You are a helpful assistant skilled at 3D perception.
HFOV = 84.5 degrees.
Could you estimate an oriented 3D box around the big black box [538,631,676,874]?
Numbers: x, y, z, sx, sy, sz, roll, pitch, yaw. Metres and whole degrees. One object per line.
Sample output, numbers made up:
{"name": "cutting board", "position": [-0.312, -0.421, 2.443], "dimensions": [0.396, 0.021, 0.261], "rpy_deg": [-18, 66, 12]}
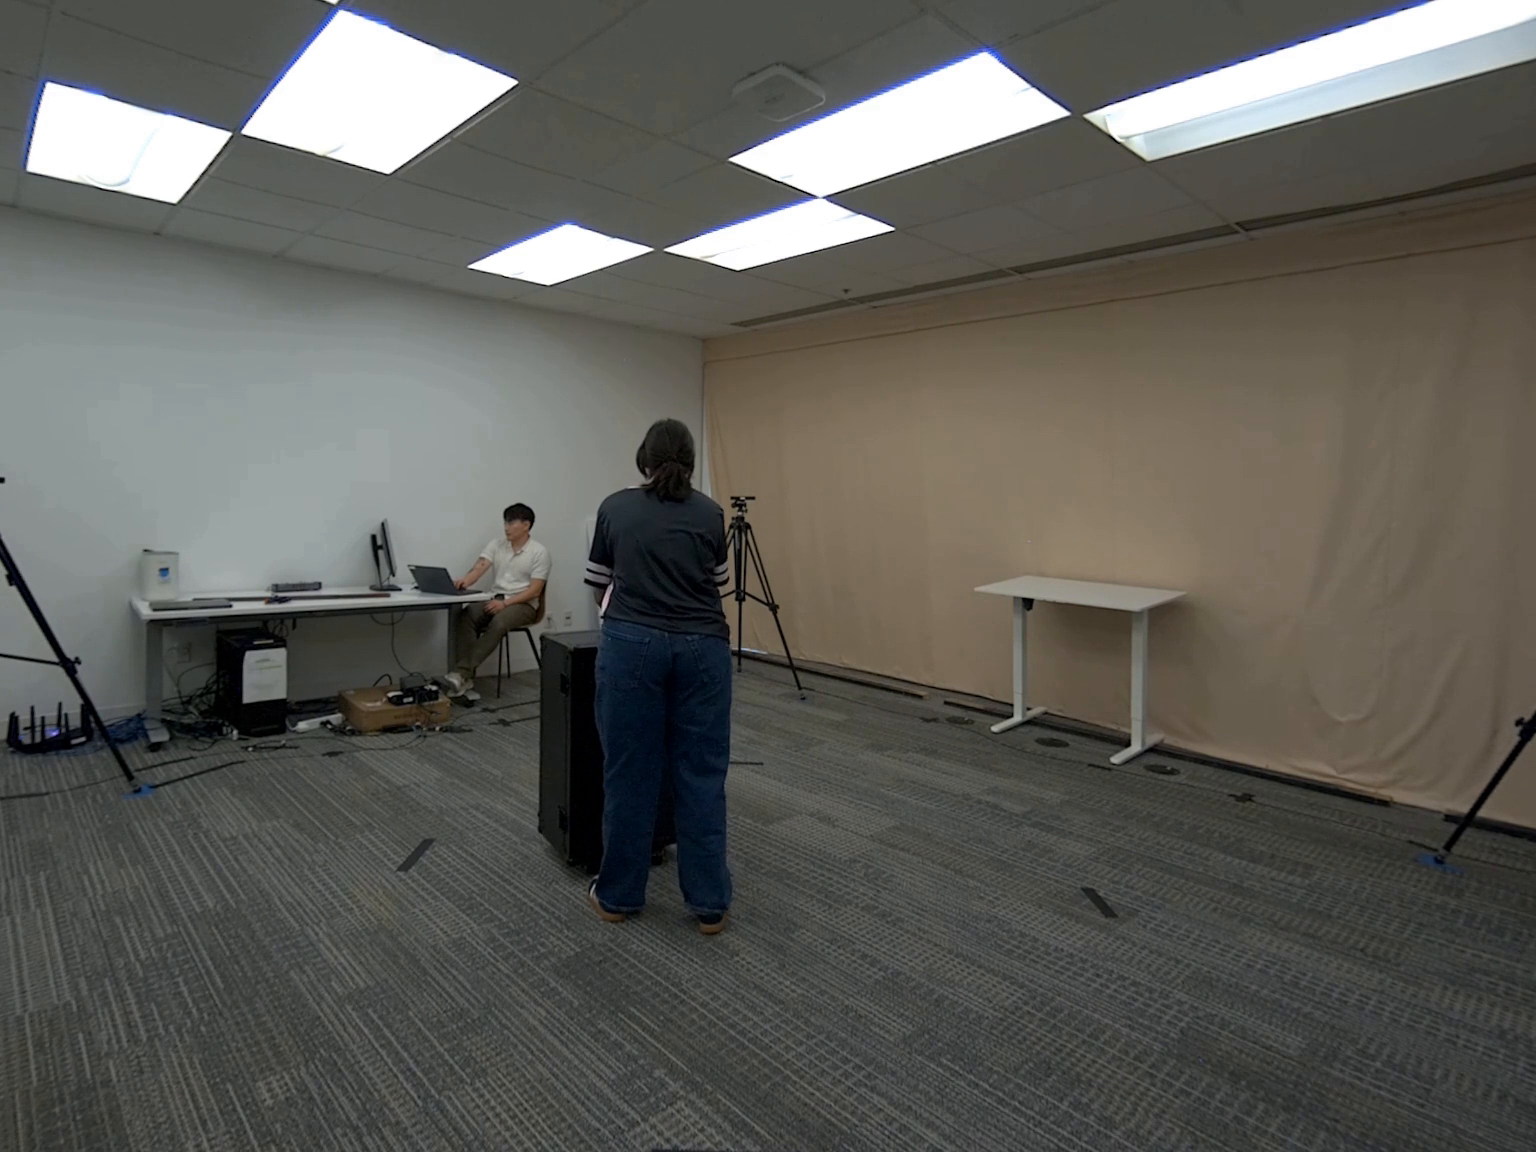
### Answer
{"name": "big black box", "position": [-0.607, 0.660, 3.237], "dimensions": [0.512, 0.866, 0.394], "rpy_deg": [-1, 4, -32]}
